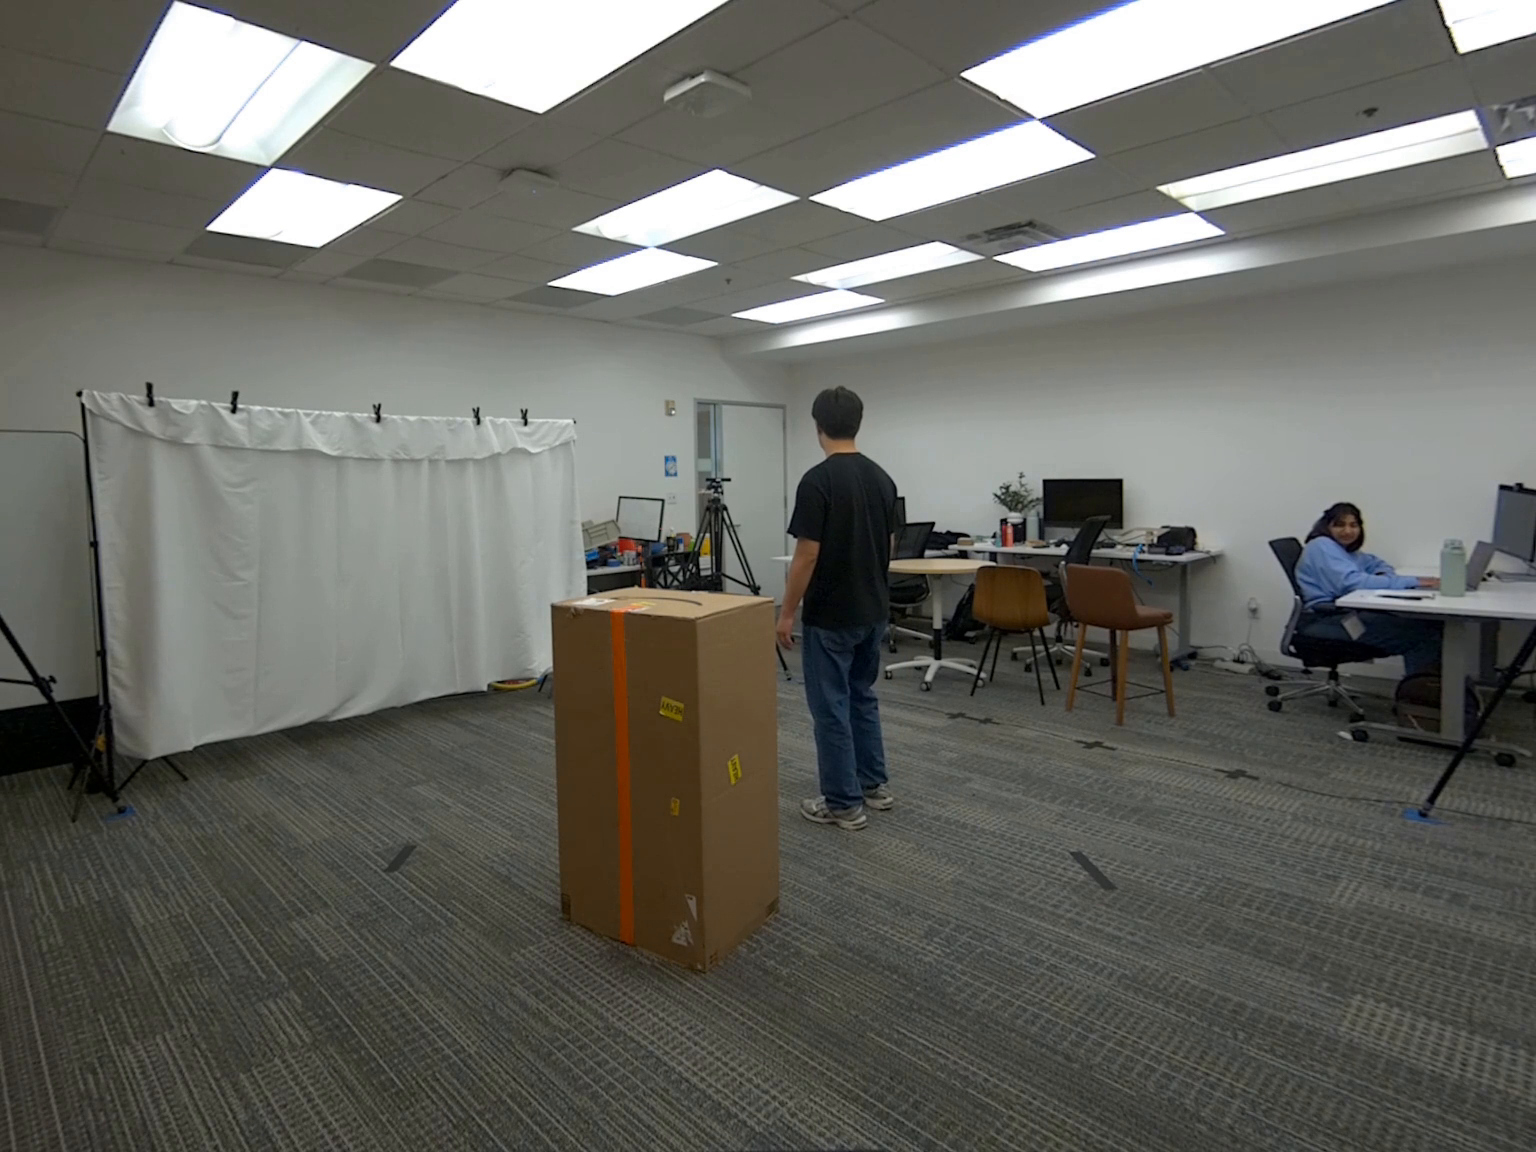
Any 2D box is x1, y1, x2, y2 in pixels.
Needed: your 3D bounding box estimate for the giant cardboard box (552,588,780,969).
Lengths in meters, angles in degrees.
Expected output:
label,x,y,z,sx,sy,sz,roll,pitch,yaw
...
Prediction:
label,x,y,z,sx,sy,sz,roll,pitch,yaw
giant cardboard box,-0.321,0.580,2.713,0.601,1.022,0.436,2,6,35
